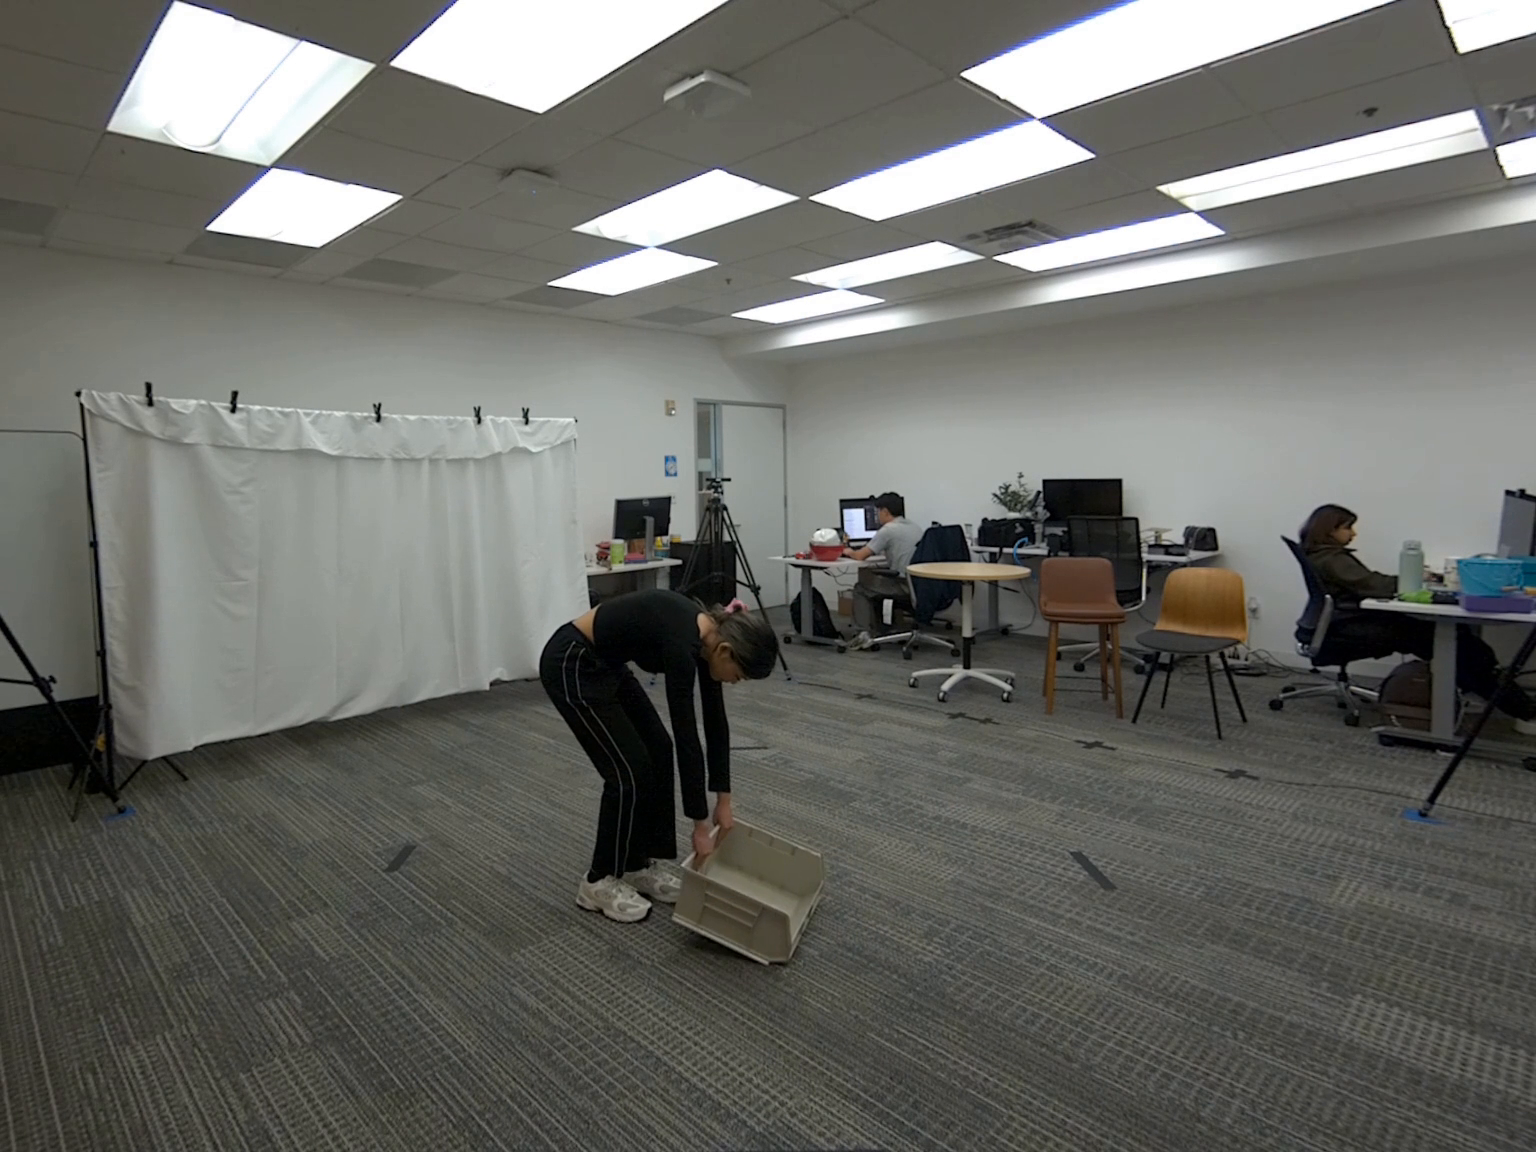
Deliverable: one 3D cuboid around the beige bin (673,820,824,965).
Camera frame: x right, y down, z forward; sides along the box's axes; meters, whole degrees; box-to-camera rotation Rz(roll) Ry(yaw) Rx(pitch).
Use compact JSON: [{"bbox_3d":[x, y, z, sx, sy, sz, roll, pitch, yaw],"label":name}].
[{"bbox_3d":[-0.036,0.969,2.670,0.385,0.187,0.417,15,12,15],"label":"beige bin"}]
